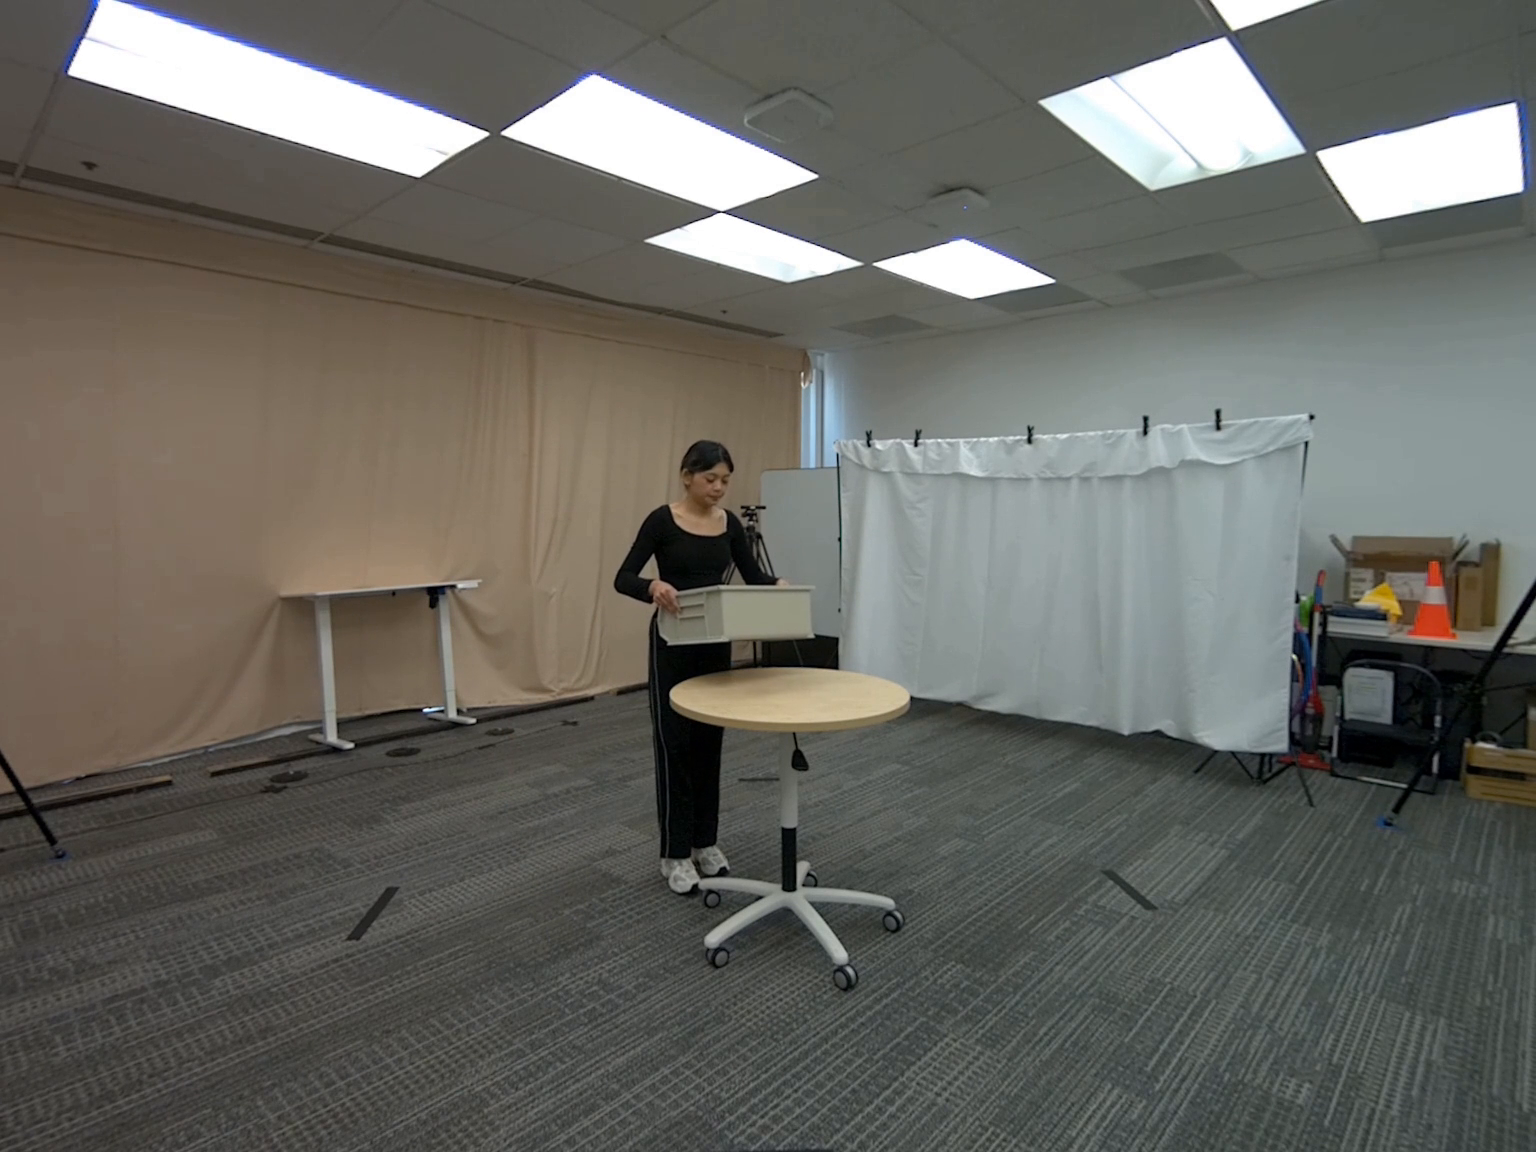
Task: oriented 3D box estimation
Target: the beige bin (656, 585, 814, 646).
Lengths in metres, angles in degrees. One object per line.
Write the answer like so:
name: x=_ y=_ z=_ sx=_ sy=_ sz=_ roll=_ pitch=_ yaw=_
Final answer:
beige bin: x=-0.109 y=0.143 z=2.949 sx=0.409 sy=0.189 sz=0.388 roll=3 pitch=-6 yaw=-37
